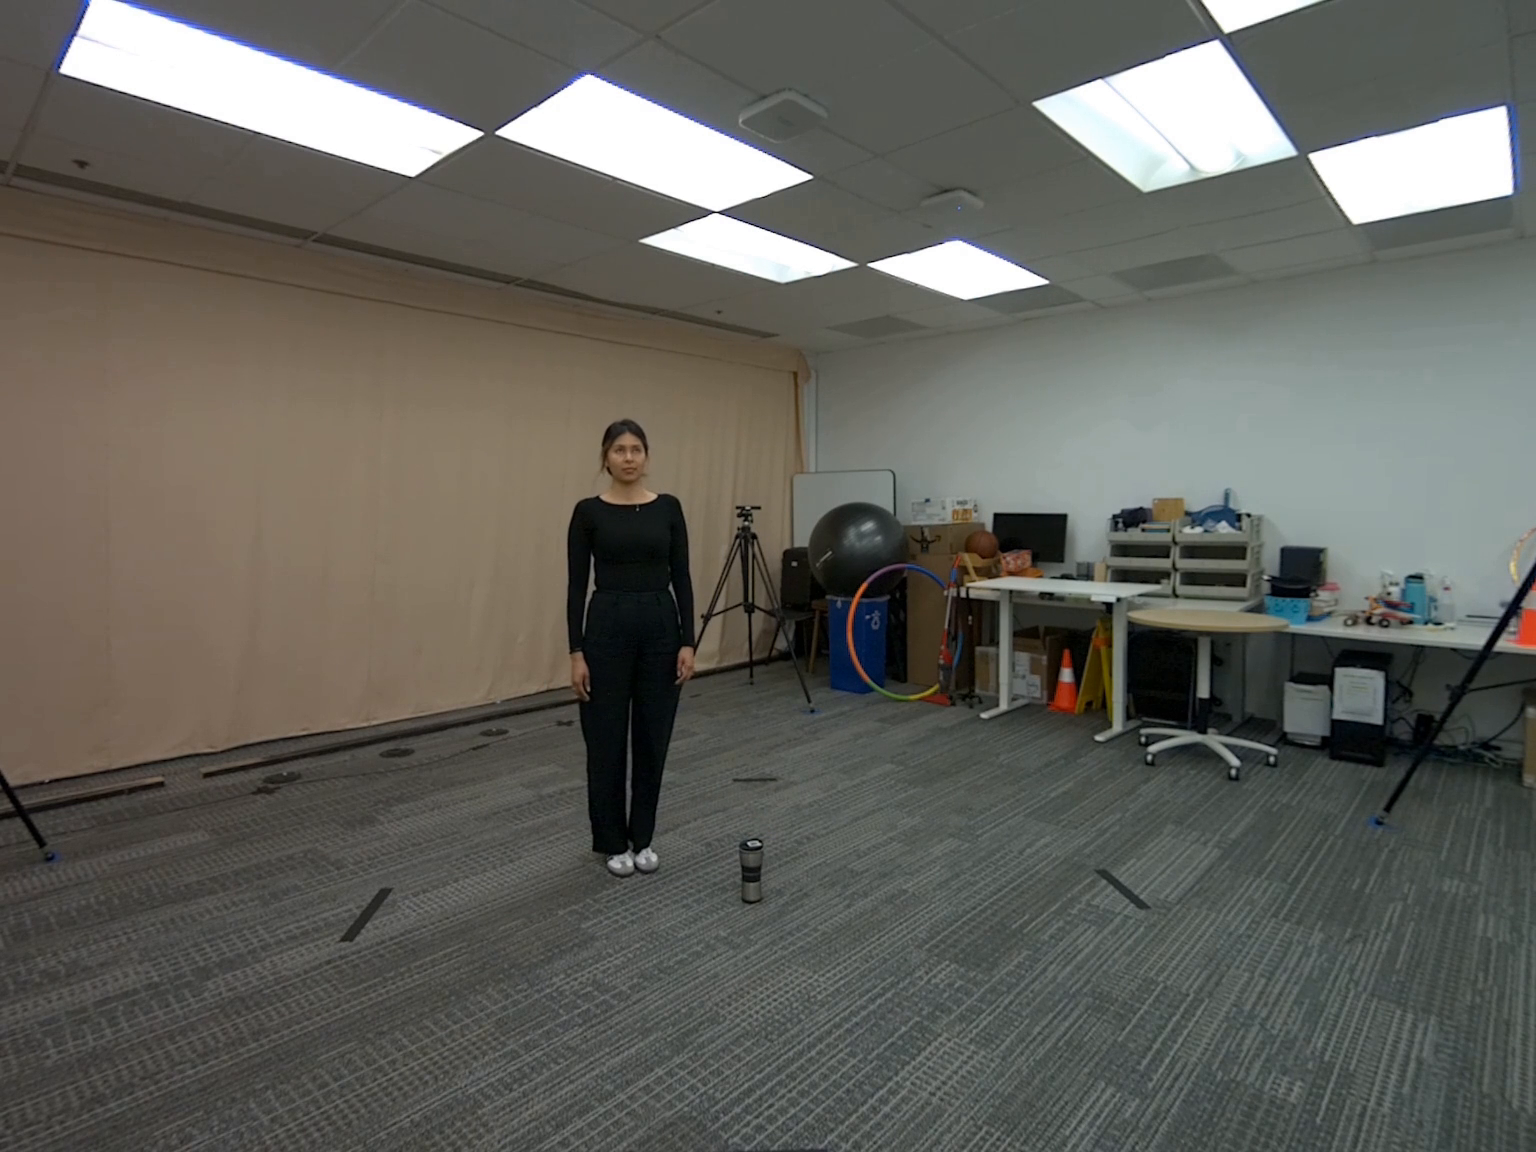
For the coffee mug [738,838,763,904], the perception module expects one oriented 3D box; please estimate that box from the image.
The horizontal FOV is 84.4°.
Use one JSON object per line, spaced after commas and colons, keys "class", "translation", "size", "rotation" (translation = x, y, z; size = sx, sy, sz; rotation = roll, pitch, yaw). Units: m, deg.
{"class": "coffee mug", "translation": [-0.042, 1.048, 2.966], "size": [0.085, 0.203, 0.125], "rotation": [2, -4, -39]}
